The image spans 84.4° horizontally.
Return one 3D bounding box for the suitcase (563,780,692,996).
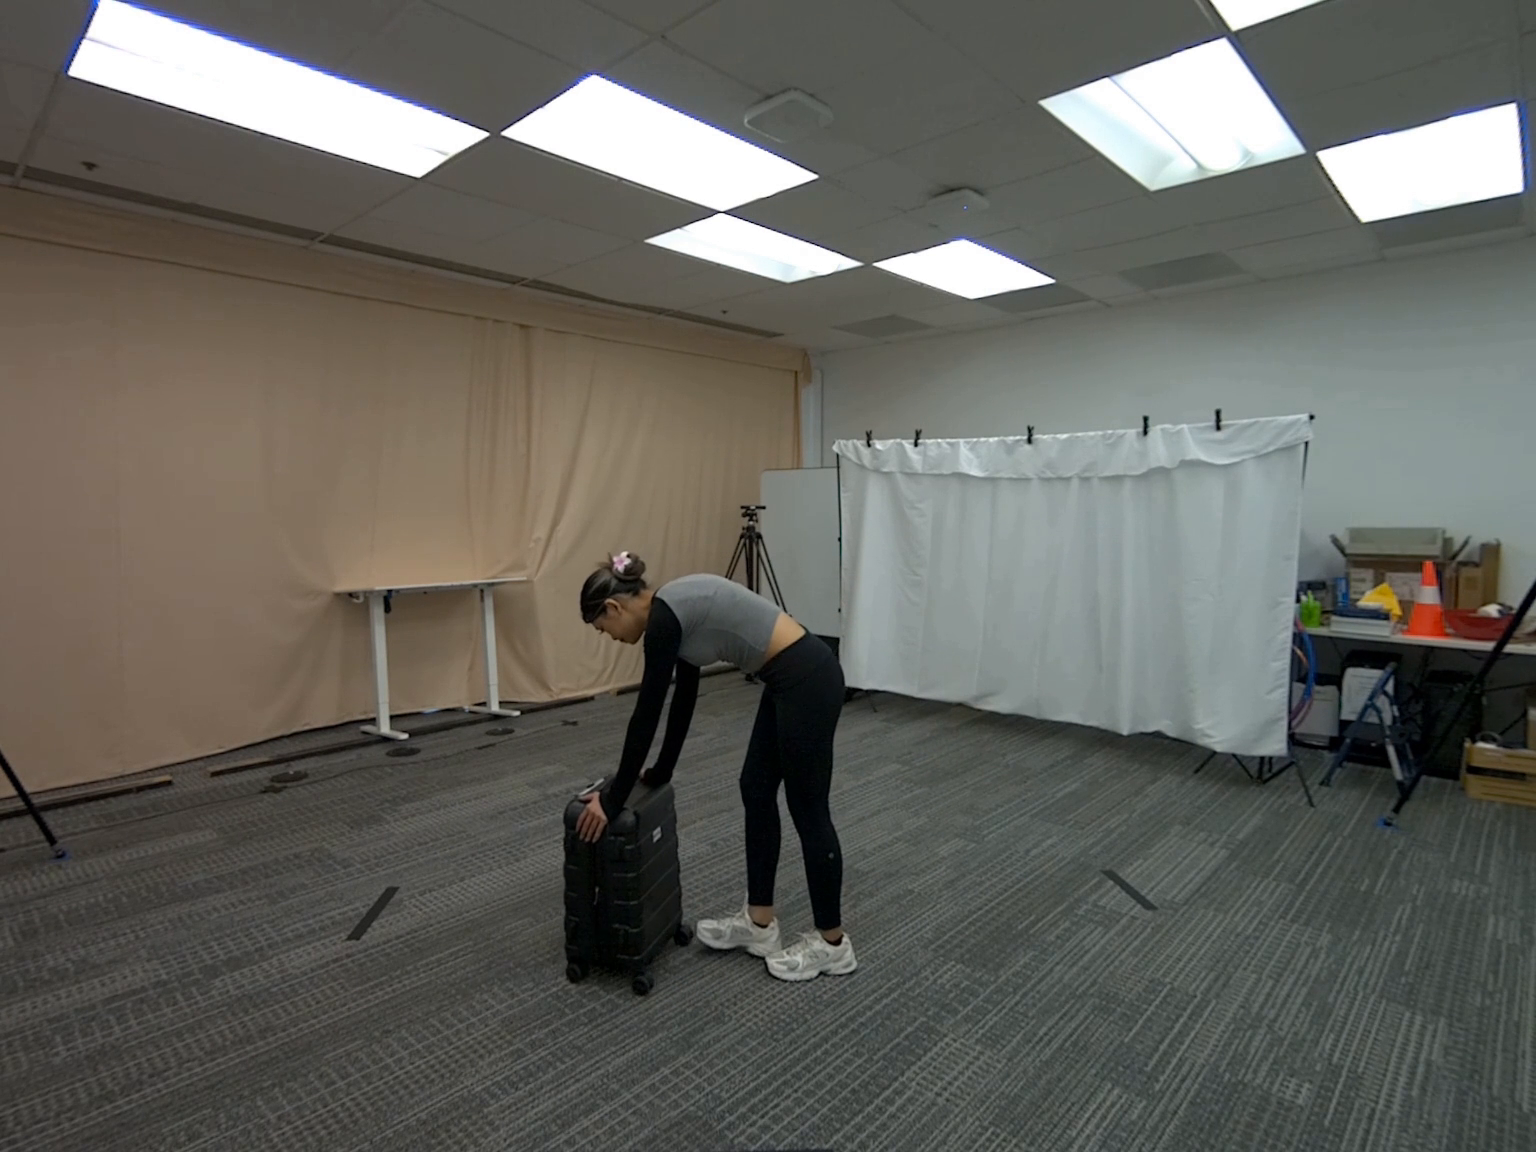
[{"bbox_3d":[-0.441,0.911,2.581,0.253,0.549,0.368,-1,2,20],"label":"suitcase"}]
